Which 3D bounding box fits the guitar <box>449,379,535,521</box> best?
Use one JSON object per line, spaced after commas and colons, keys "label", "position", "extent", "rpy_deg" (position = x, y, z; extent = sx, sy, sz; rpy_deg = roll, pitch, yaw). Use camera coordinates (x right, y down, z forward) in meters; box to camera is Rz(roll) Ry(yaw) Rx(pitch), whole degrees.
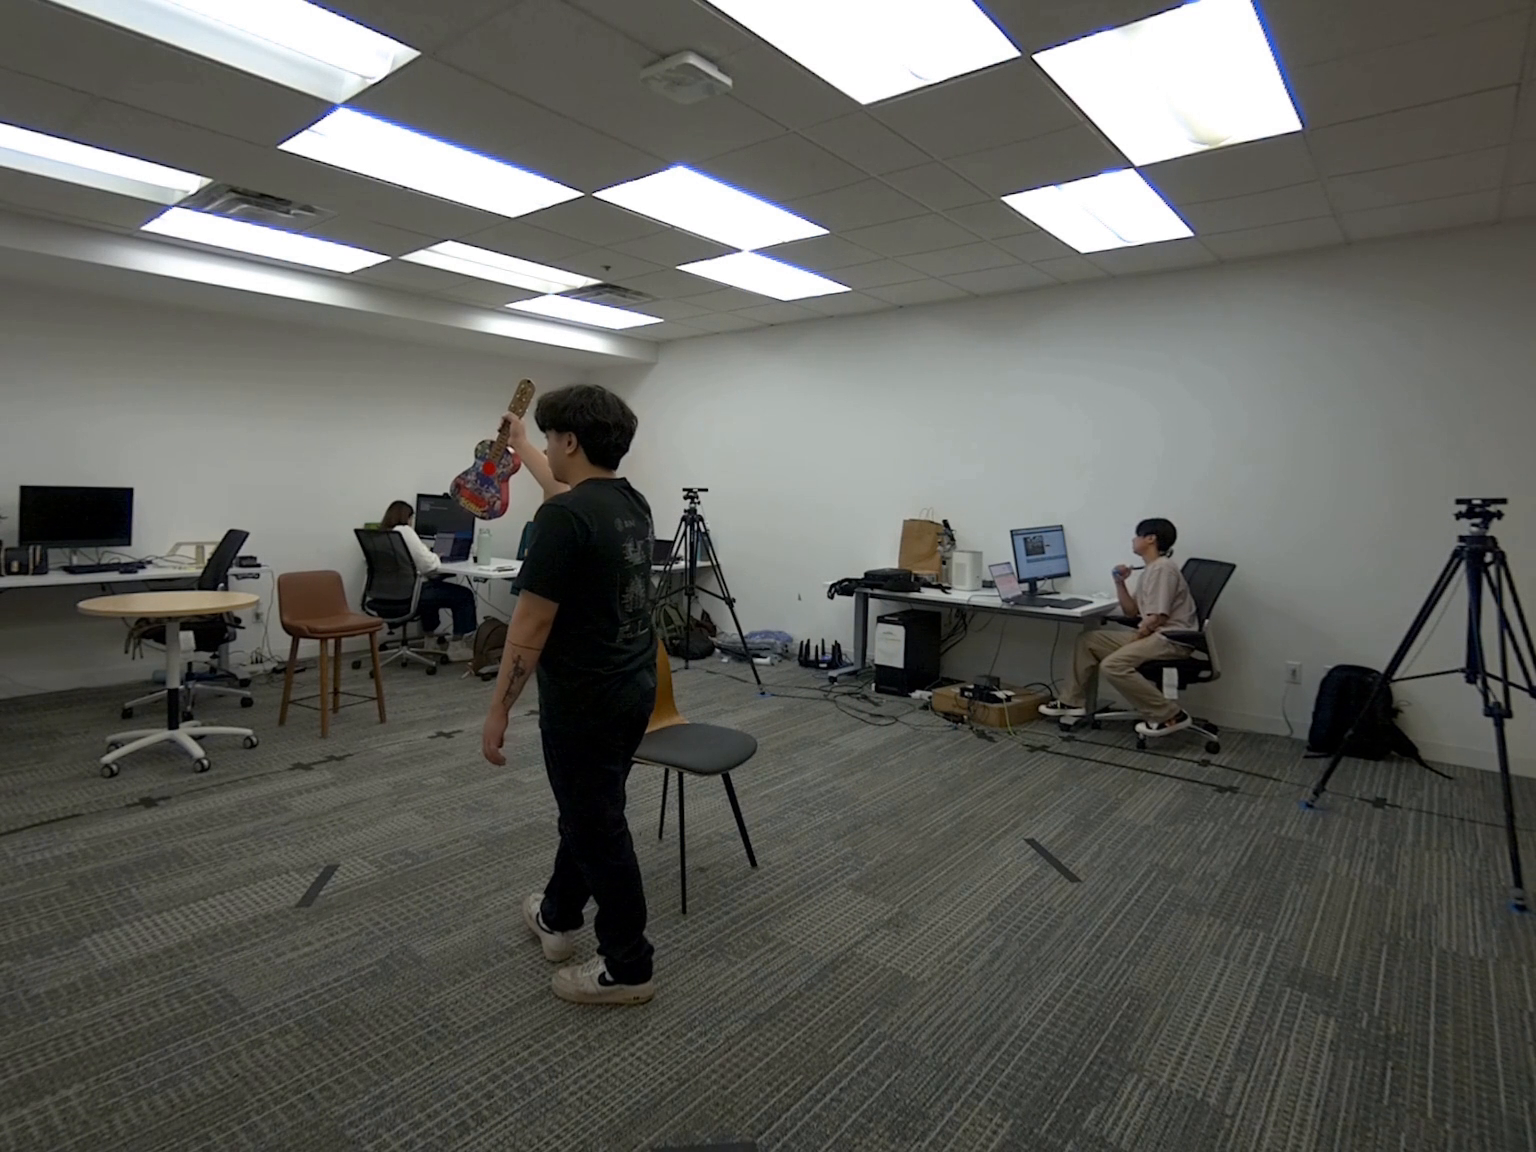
{"label": "guitar", "position": [-0.874, -0.408, 2.815], "extent": [0.193, 0.497, 0.070], "rpy_deg": [39, 15, 1]}
